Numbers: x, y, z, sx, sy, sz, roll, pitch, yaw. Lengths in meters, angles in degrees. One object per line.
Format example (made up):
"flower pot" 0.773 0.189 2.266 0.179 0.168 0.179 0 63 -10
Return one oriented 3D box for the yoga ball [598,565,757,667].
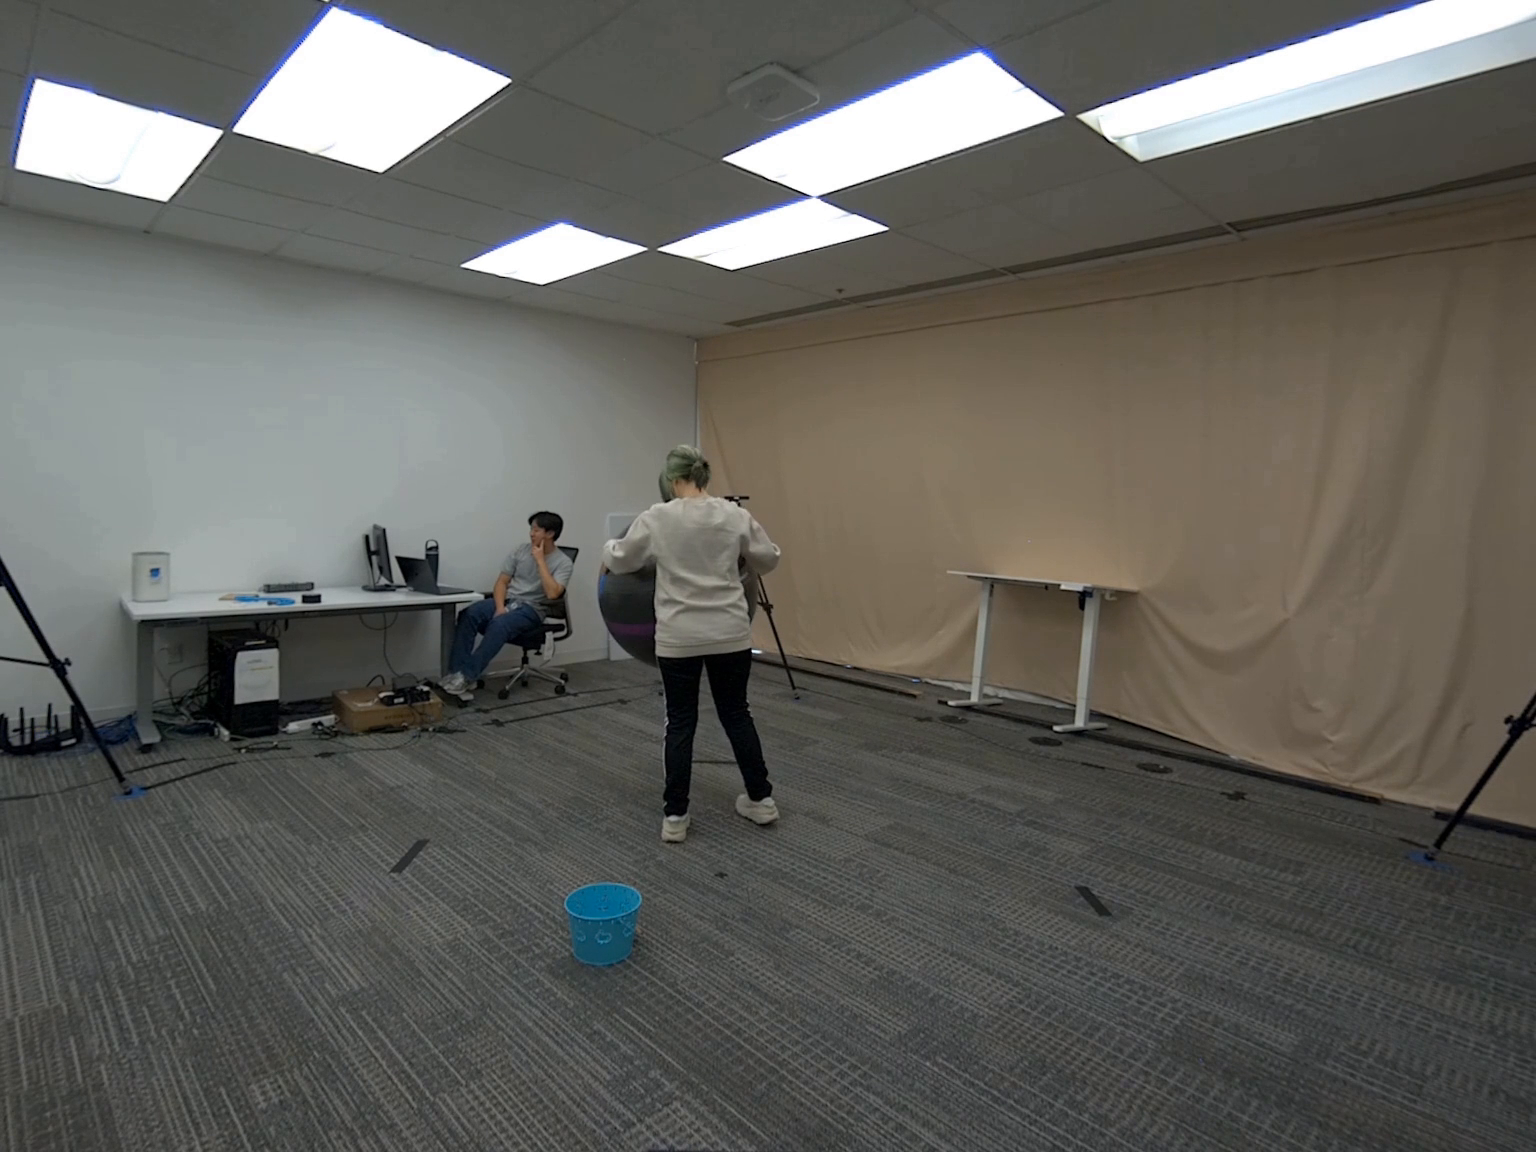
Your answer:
"yoga ball" -0.433 0.068 3.968 0.757 0.756 0.761 1 4 -1
